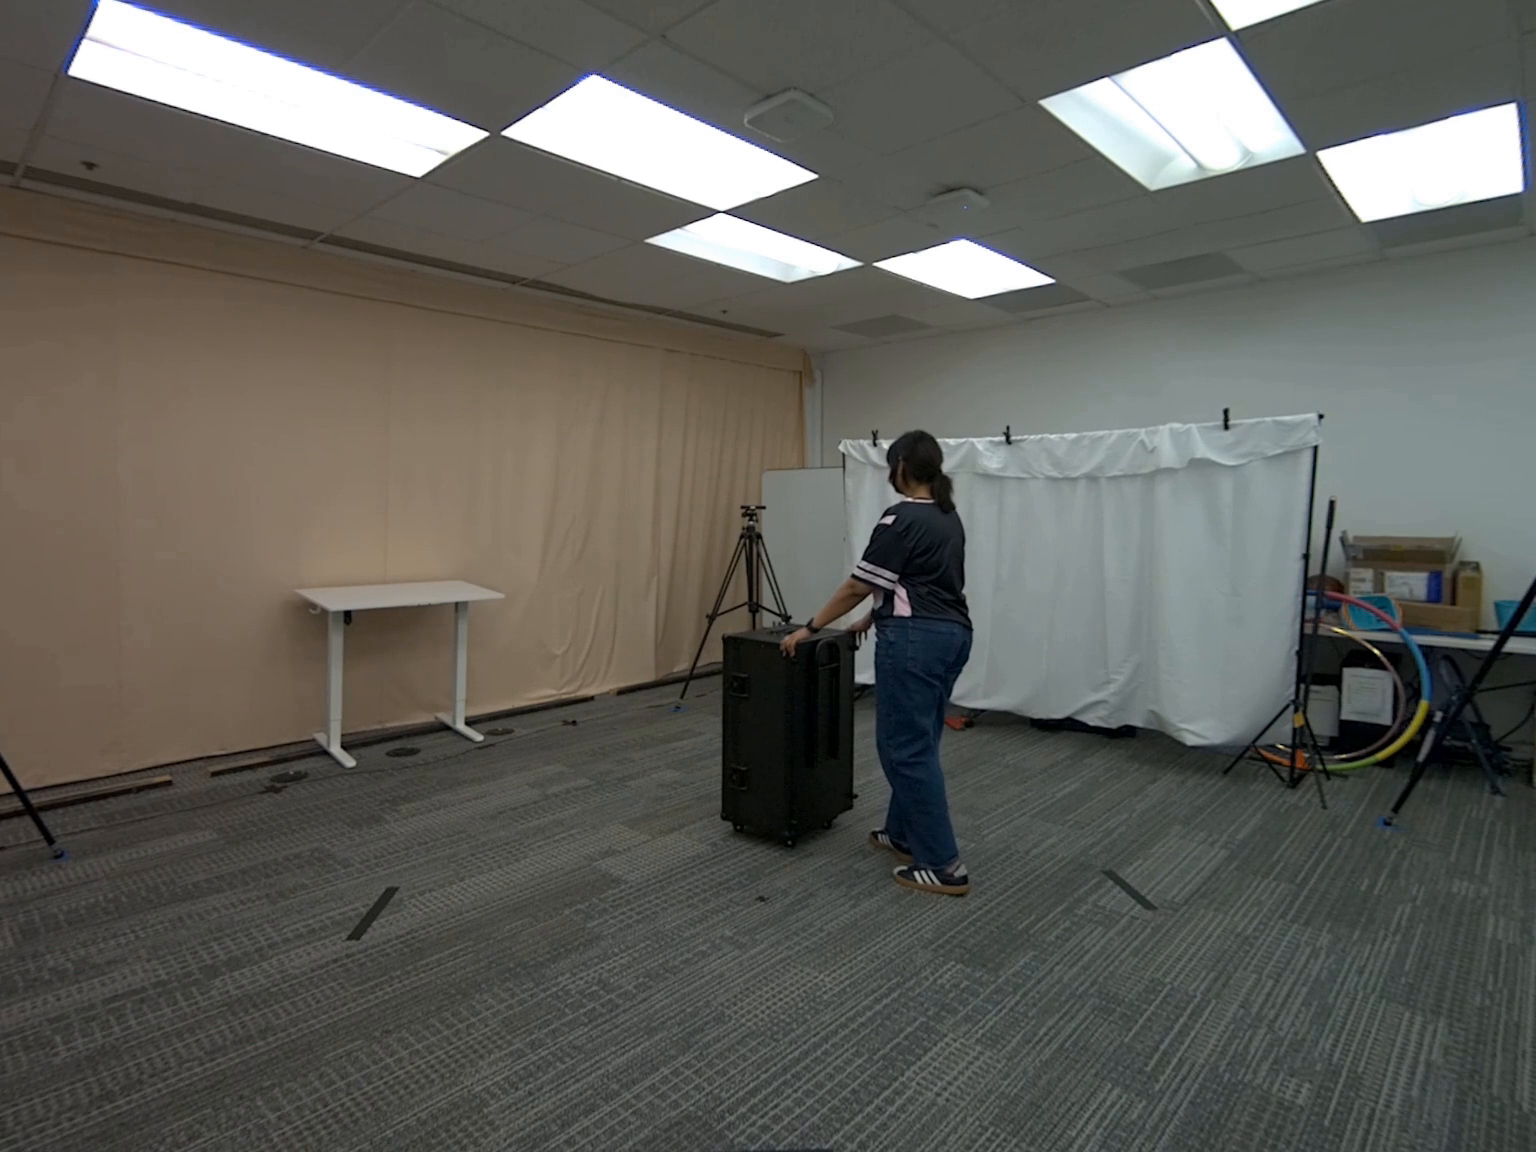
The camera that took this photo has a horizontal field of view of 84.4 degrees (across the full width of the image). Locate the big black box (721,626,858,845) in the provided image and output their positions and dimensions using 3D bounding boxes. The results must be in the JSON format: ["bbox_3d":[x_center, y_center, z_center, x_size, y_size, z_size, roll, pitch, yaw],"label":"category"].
[{"bbox_3d":[0.100,0.671,3.604,0.398,0.866,0.508,4,5,38],"label":"big black box"}]
